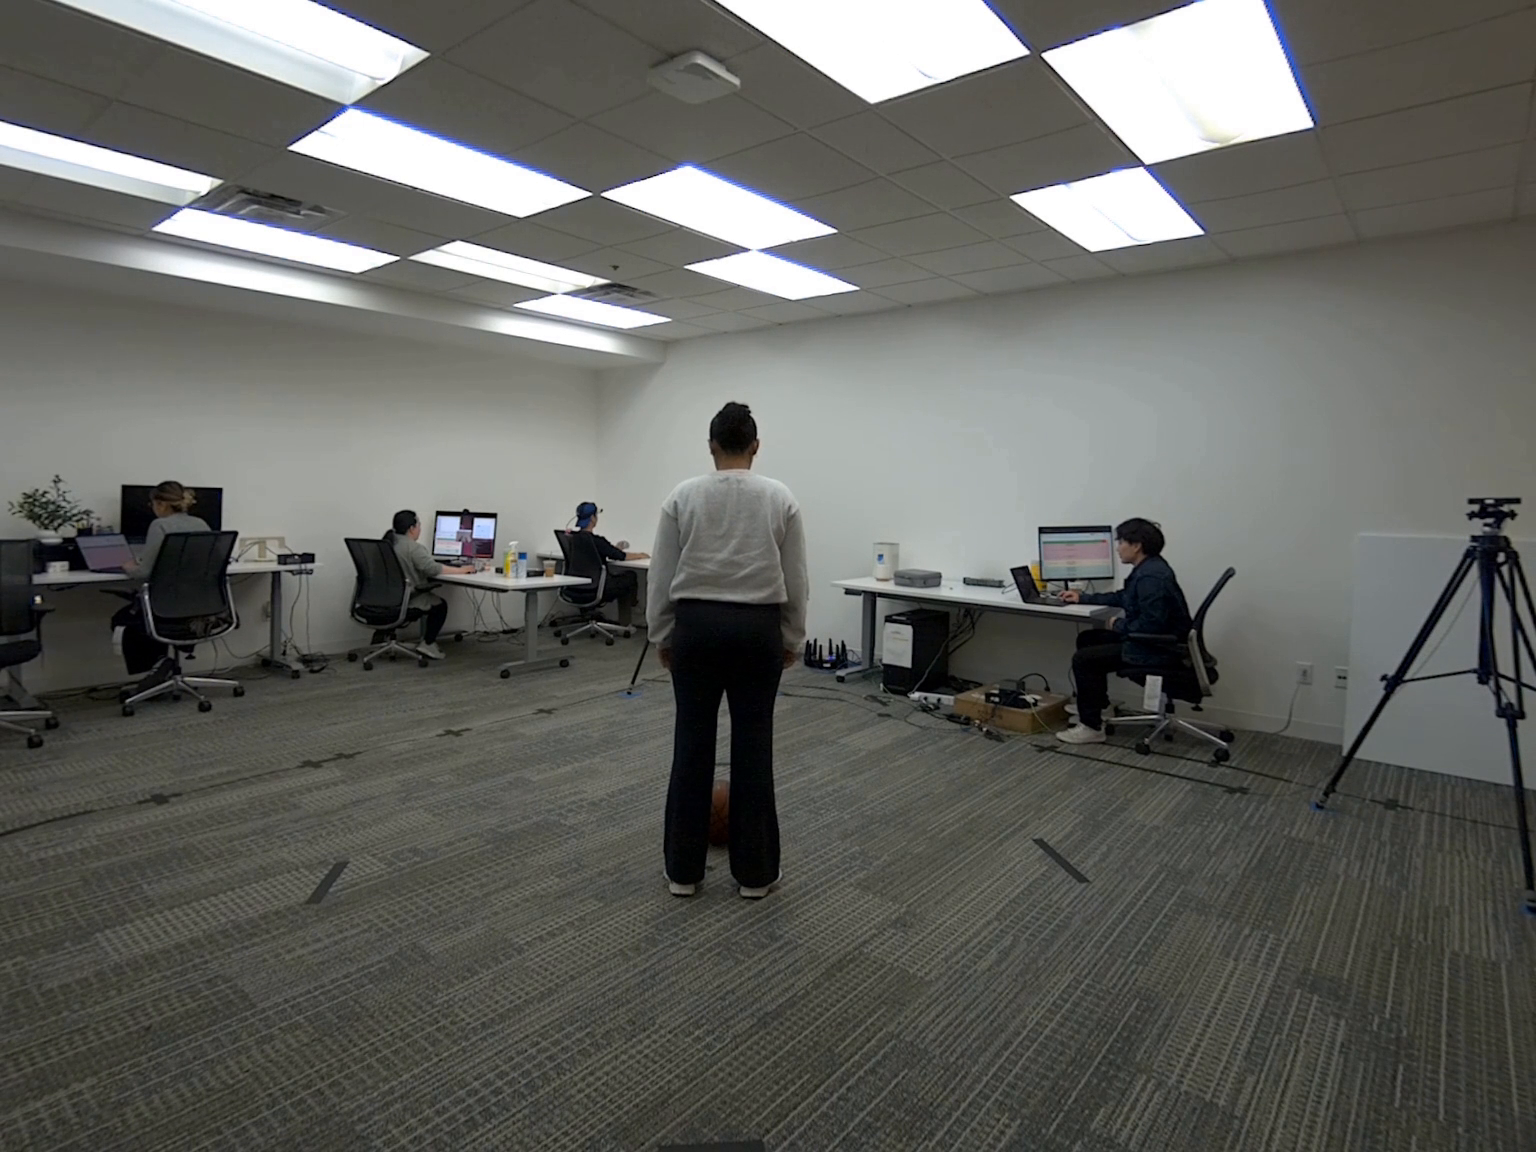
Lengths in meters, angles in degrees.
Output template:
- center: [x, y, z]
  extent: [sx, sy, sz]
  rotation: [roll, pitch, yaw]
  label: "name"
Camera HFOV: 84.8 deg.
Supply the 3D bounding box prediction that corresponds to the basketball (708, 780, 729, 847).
- center: [-0.196, 0.914, 3.345]
  extent: [0.235, 0.235, 0.237]
  rotation: [1, 4, -2]
  label: "basketball"
